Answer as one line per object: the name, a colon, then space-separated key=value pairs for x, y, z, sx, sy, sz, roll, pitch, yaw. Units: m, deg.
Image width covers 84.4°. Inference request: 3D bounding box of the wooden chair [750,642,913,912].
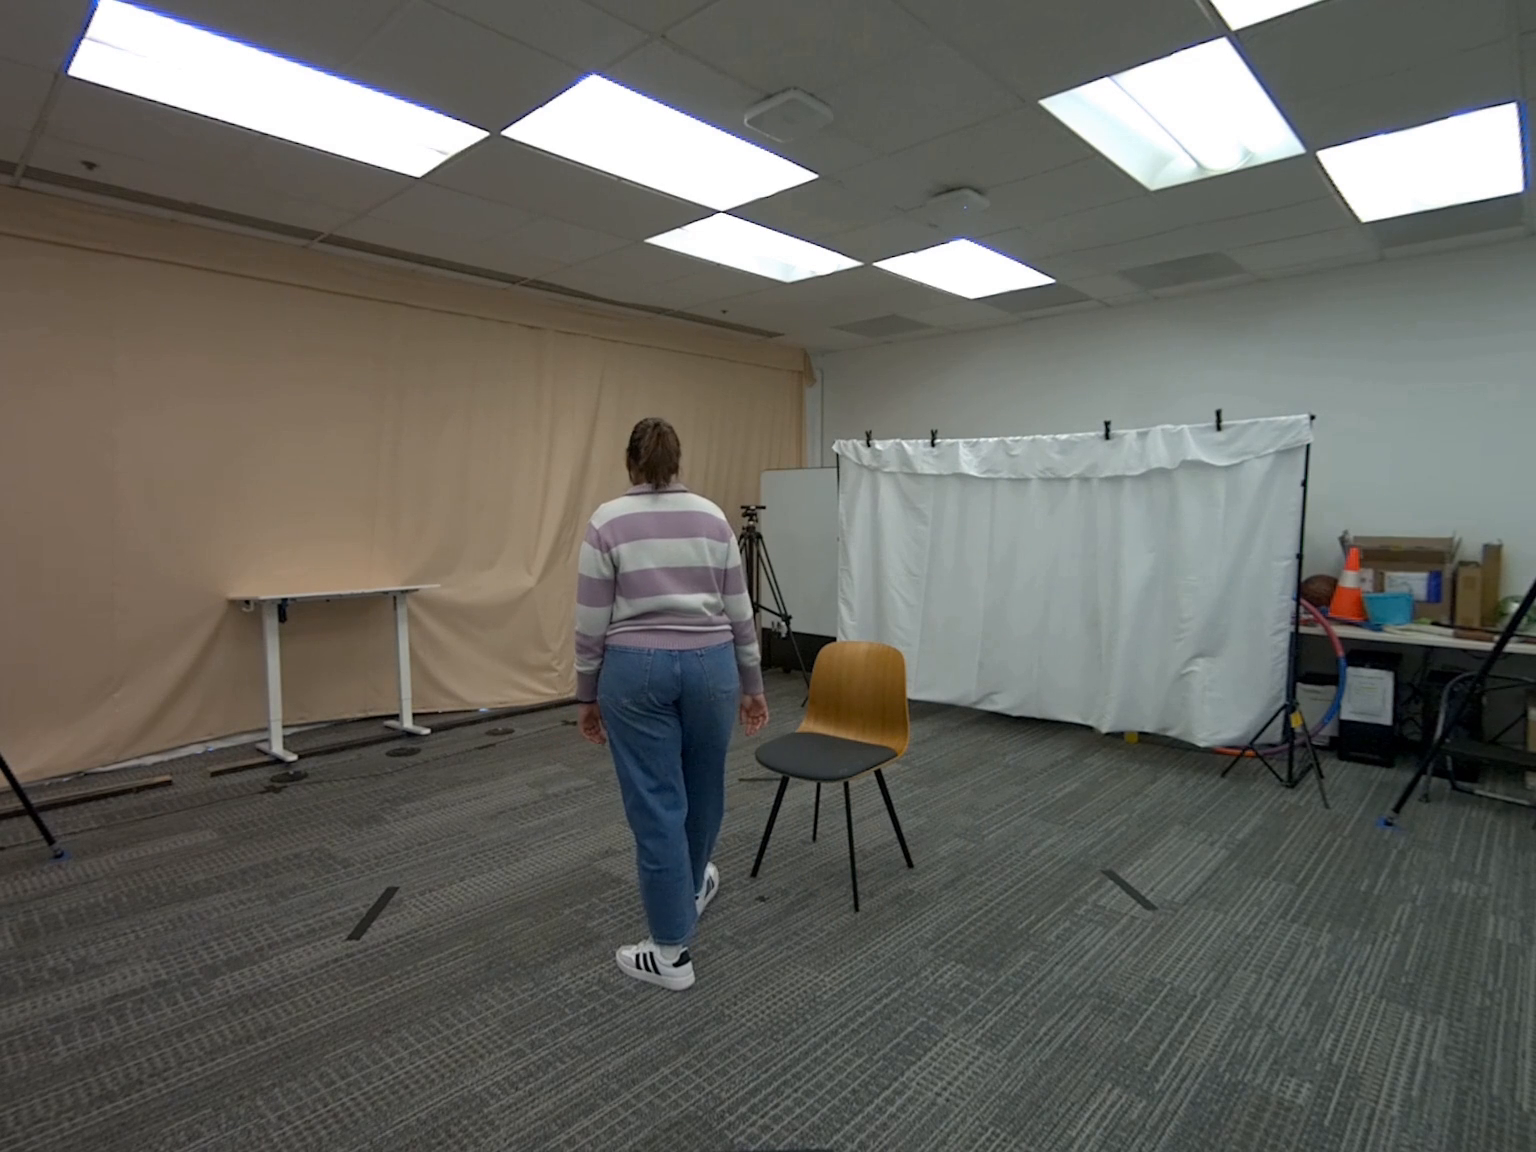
wooden chair: x=0.246 y=0.699 z=3.157 sx=0.493 sy=0.877 sz=0.507 roll=3 pitch=0 yaw=36
